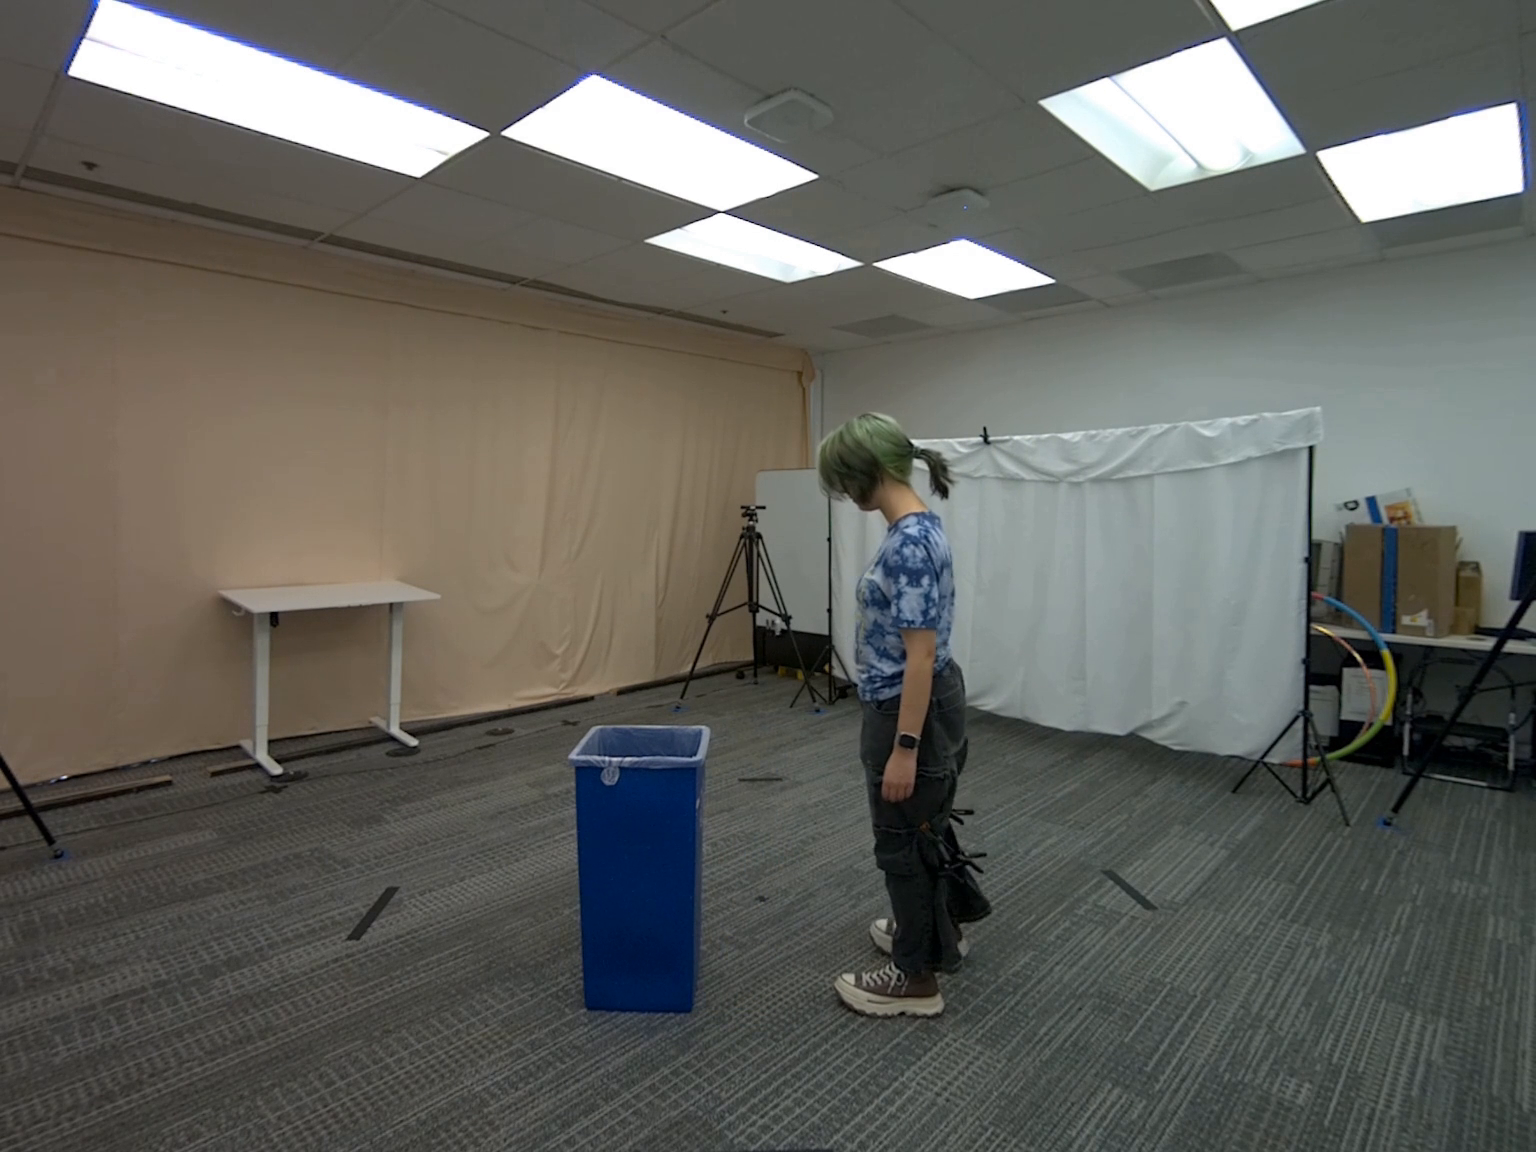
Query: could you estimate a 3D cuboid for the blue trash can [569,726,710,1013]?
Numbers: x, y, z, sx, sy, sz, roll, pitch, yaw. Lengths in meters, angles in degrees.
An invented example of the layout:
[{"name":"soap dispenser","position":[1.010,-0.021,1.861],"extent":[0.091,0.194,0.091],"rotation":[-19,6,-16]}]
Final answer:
[{"name":"blue trash can","position":[-0.366,0.838,2.452],"extent":[0.379,0.712,0.374],"rotation":[0,3,1]}]
